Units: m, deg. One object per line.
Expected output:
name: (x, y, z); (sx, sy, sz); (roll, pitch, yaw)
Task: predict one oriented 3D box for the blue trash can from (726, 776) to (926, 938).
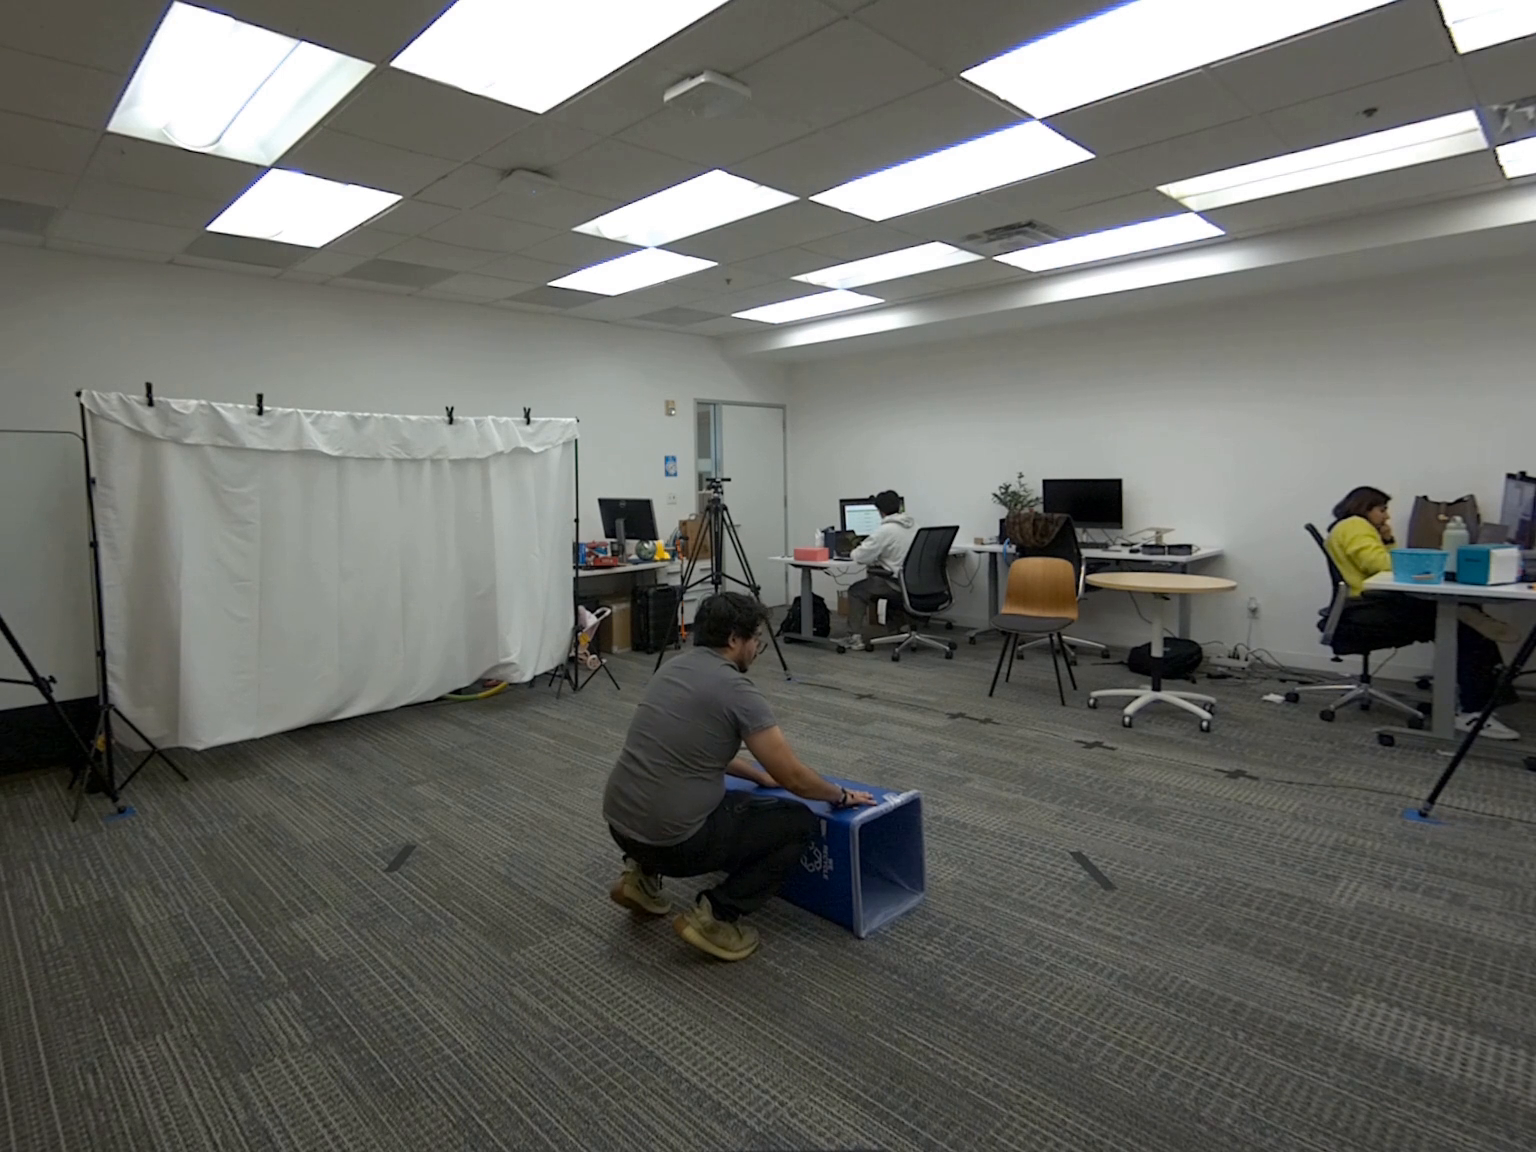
blue trash can: (0.138, 0.883, 2.951); (0.364, 0.377, 0.735); (-6, 6, -44)
